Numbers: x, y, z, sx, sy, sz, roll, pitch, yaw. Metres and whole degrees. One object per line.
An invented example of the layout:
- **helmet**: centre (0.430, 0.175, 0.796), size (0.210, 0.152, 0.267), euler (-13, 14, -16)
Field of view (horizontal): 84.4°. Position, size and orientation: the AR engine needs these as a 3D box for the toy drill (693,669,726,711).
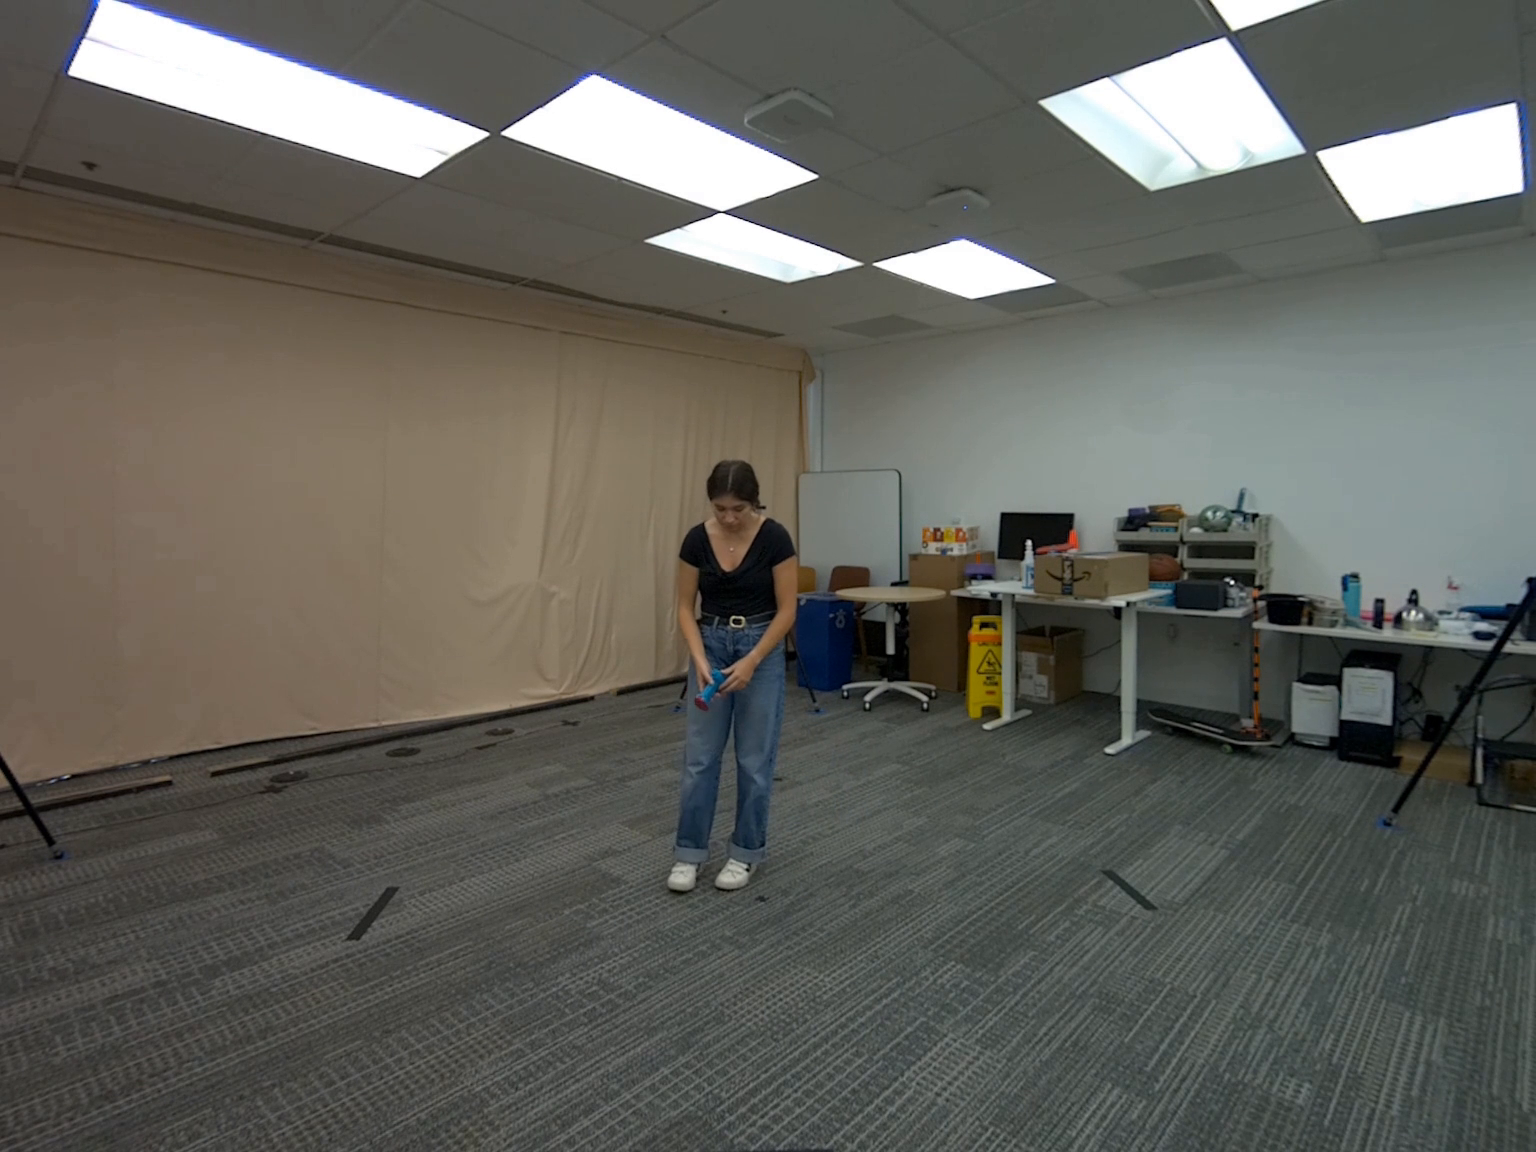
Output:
- **toy drill**: centre (-0.198, 0.423, 2.969), size (0.063, 0.166, 0.145), euler (23, 54, 20)
